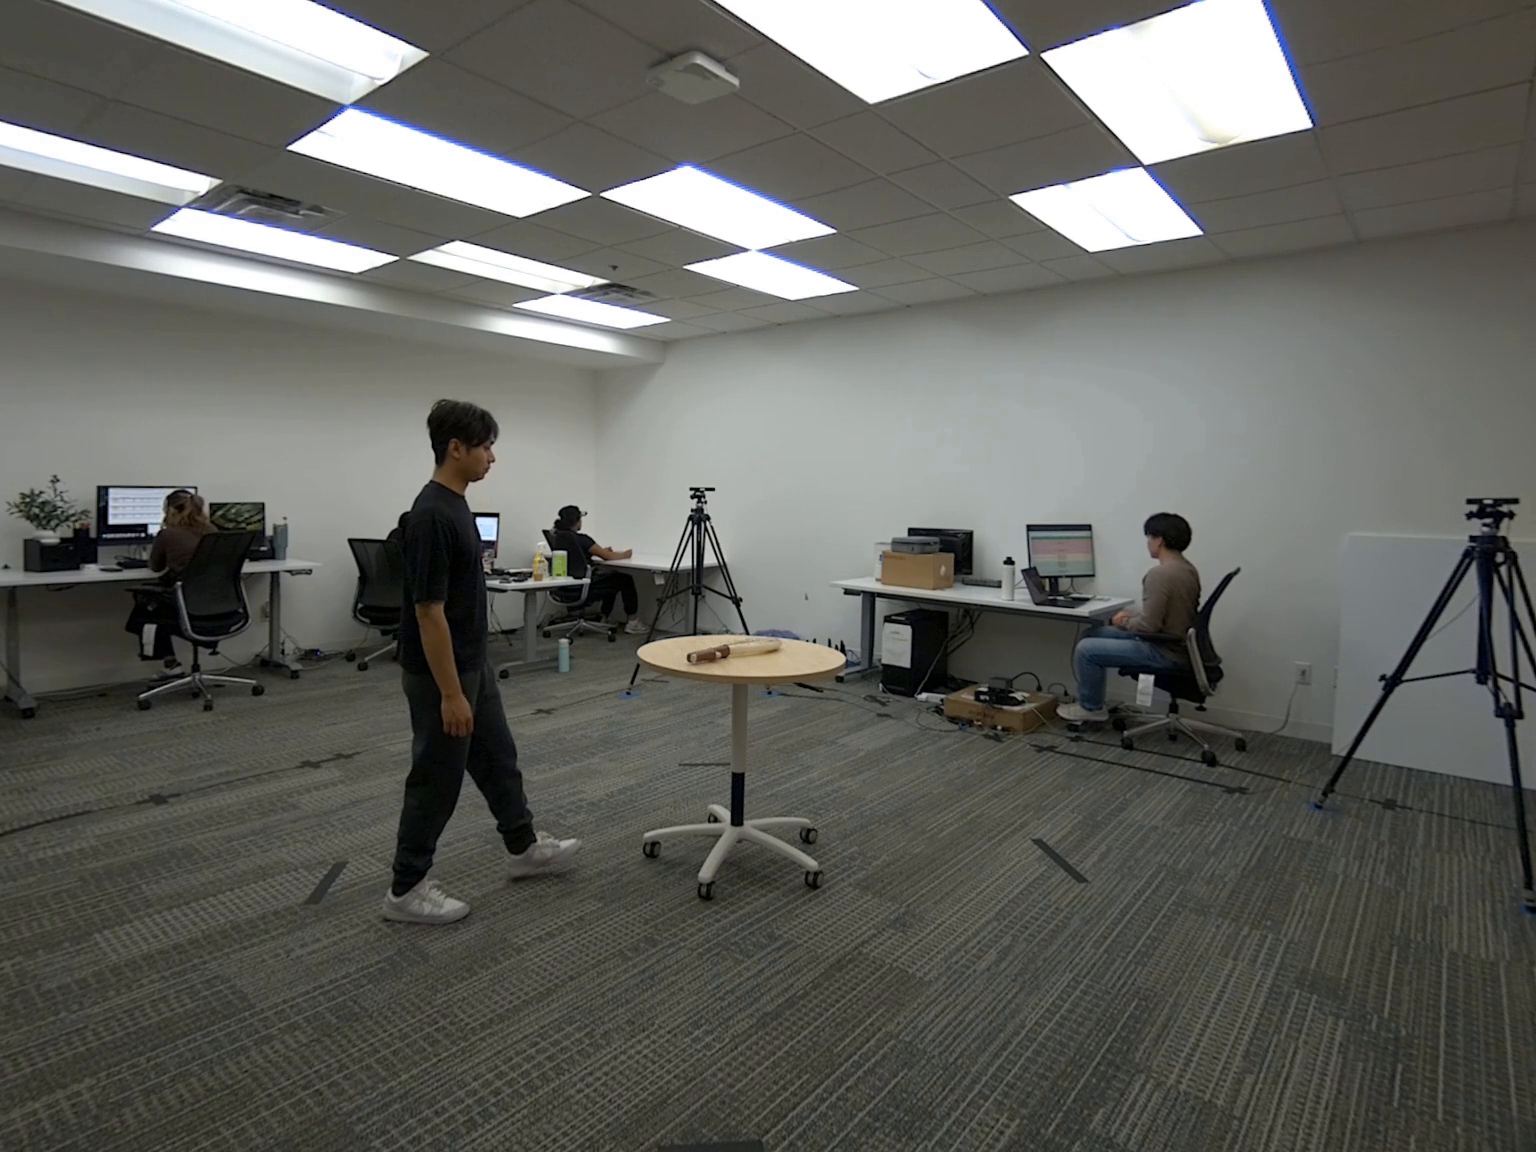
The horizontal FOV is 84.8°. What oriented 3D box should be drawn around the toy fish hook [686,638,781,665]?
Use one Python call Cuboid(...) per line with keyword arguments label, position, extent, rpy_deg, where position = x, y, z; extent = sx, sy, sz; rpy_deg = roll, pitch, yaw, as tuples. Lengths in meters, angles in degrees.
Cuboid(label="toy fish hook", position=(-0.163, 0.272, 3.123), extent=(0.231, 0.048, 0.491), rpy_deg=(-2, 2, 41))
